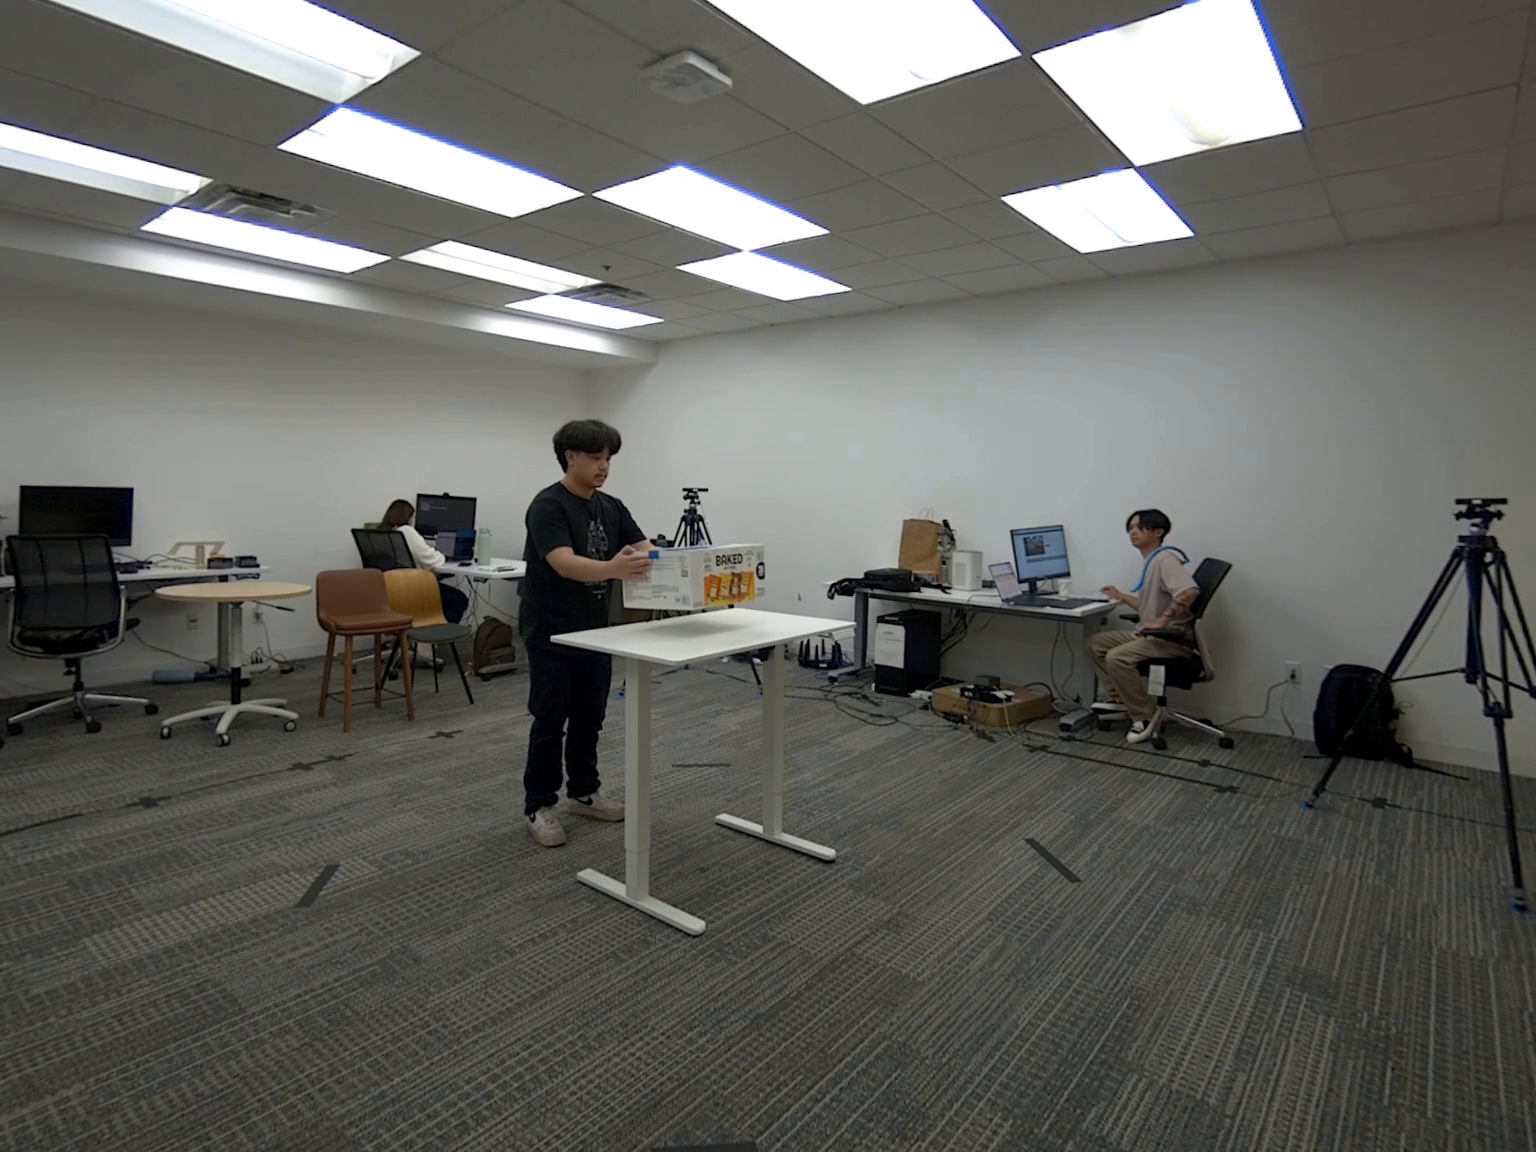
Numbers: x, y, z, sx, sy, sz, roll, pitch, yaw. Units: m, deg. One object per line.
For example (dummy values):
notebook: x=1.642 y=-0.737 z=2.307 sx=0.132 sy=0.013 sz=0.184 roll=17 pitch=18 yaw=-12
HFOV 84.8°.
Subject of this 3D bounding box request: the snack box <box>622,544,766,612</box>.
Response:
snack box: x=-0.280 y=-0.002 z=3.085 sx=0.351 sy=0.205 sz=0.393 roll=-1 pitch=4 yaw=39
